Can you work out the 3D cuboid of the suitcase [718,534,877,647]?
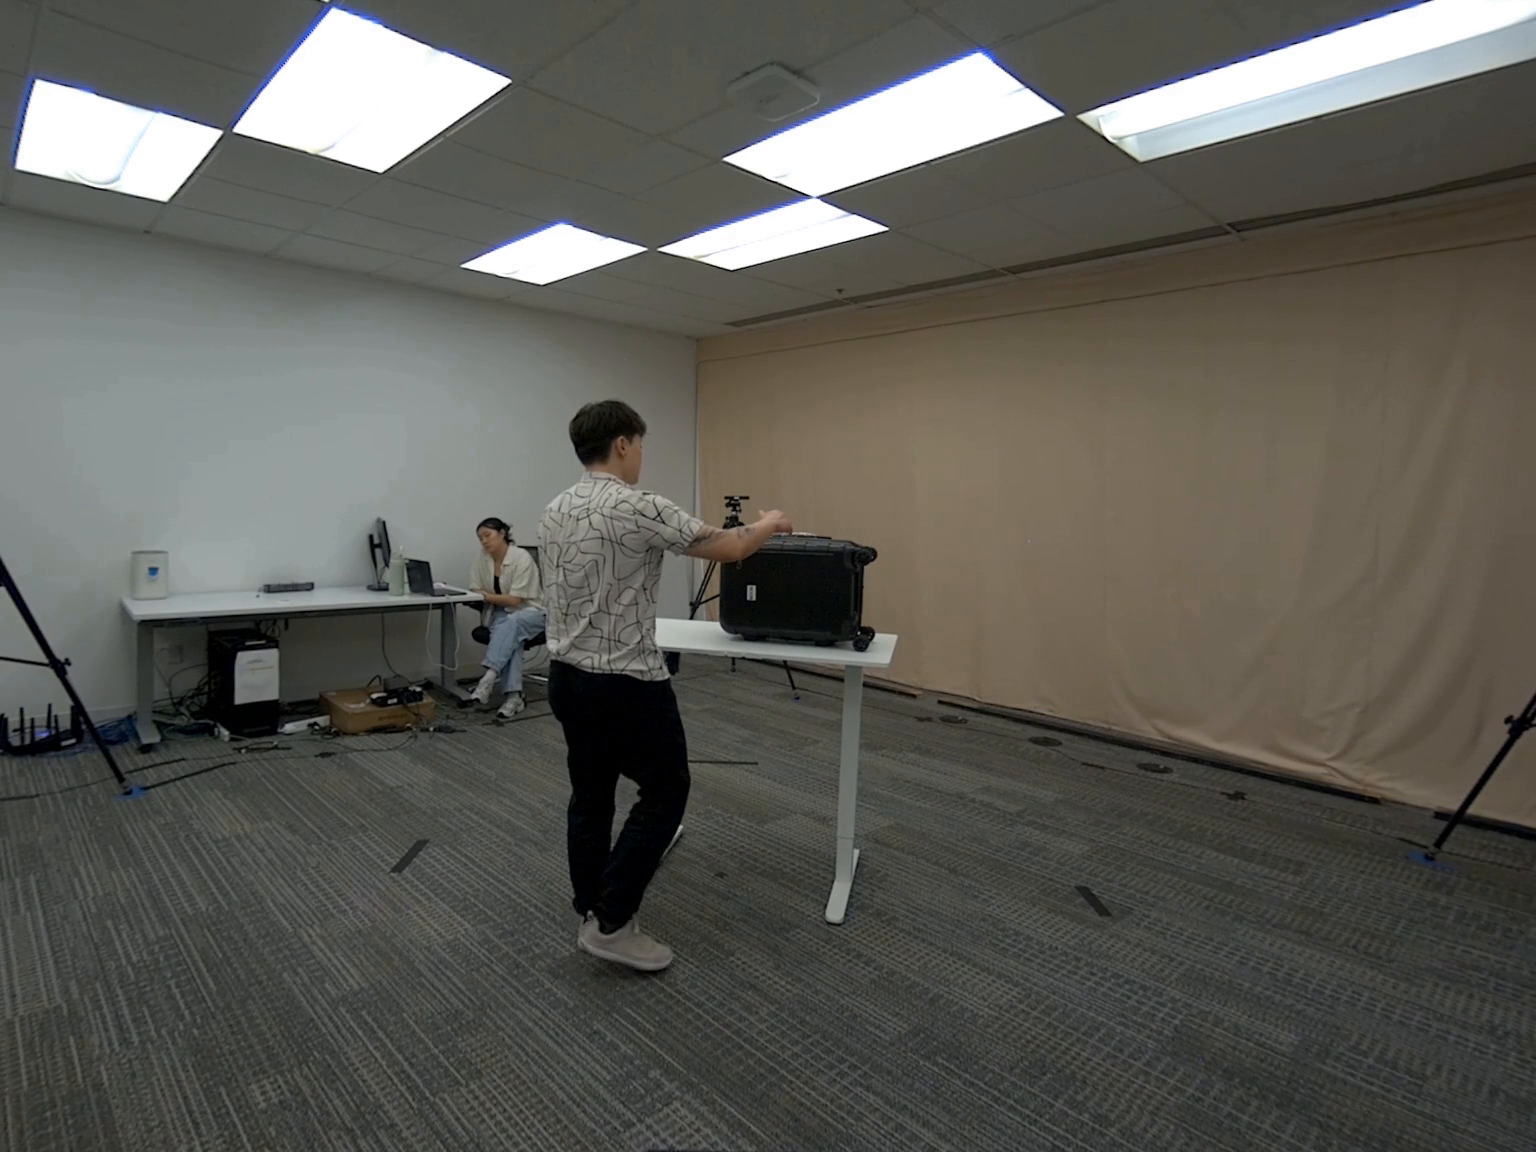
[{"bbox_3d":[0.094,0.043,3.017,0.556,0.374,0.246,4,4,14],"label":"suitcase"}]
